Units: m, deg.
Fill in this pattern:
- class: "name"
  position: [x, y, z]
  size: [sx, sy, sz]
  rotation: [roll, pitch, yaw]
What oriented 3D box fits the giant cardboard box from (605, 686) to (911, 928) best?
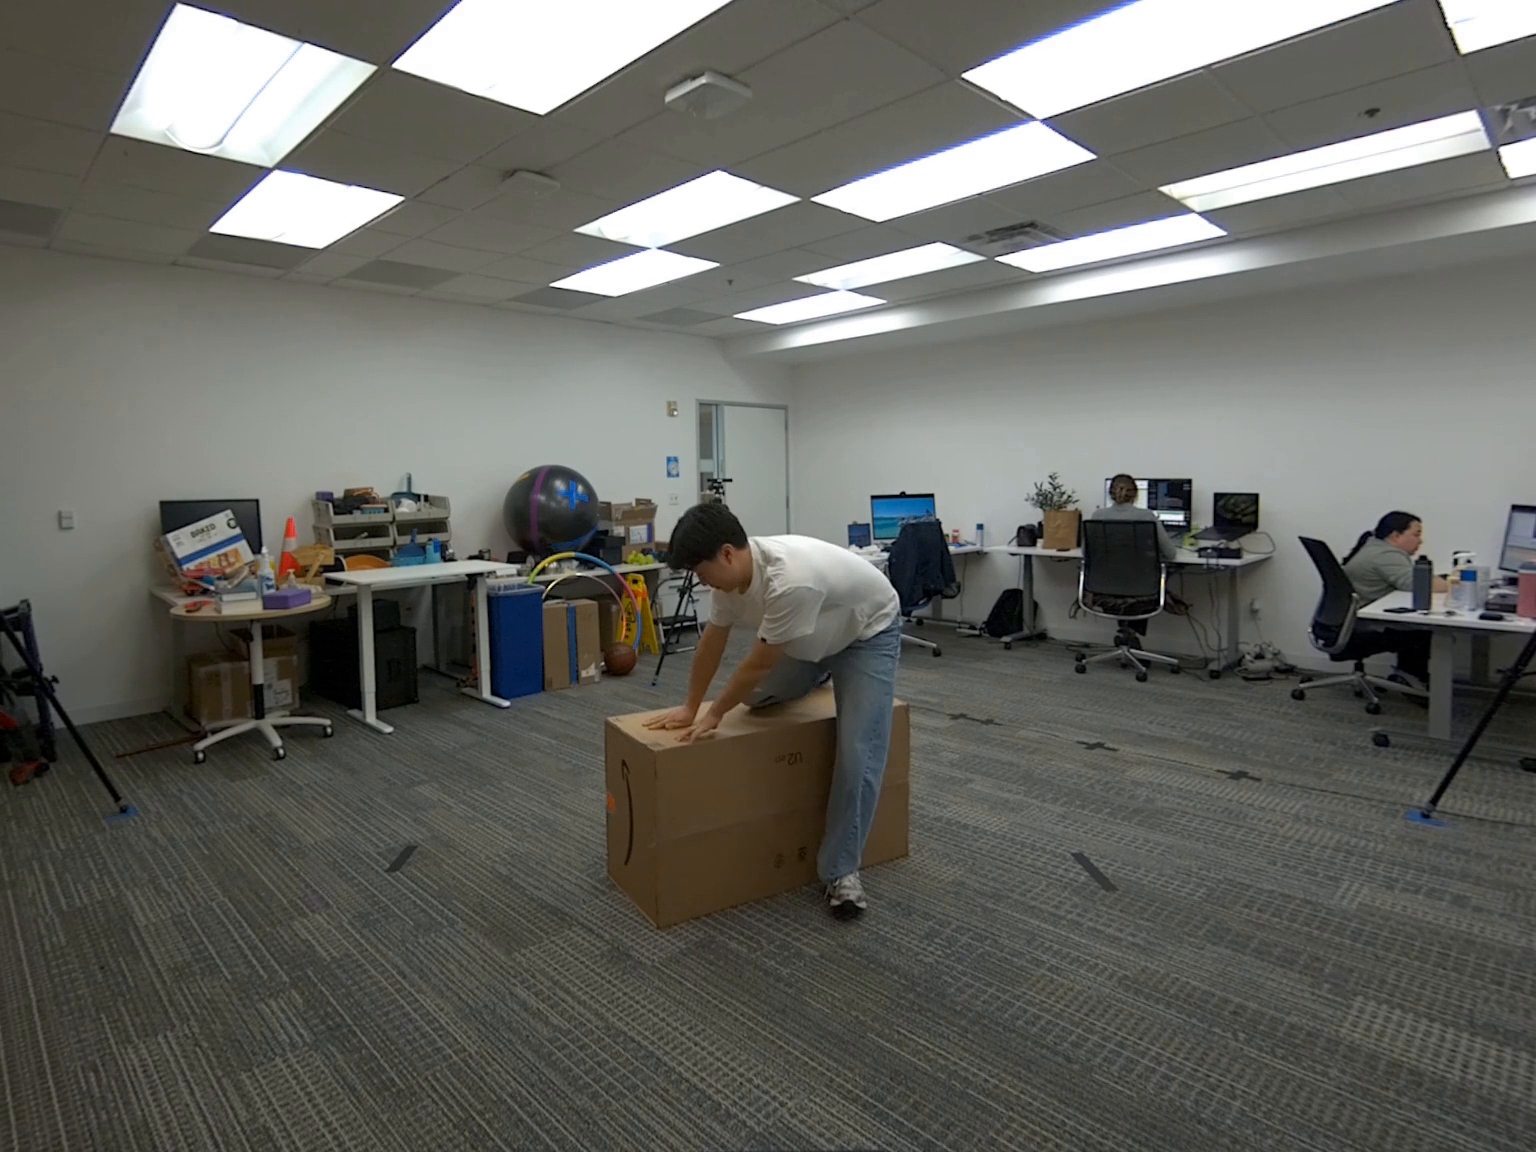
- class: "giant cardboard box"
  position: [-0.026, 0.765, 3.066]
  size: [1.002, 0.575, 0.438]
  rotation: [-4, 6, -30]
